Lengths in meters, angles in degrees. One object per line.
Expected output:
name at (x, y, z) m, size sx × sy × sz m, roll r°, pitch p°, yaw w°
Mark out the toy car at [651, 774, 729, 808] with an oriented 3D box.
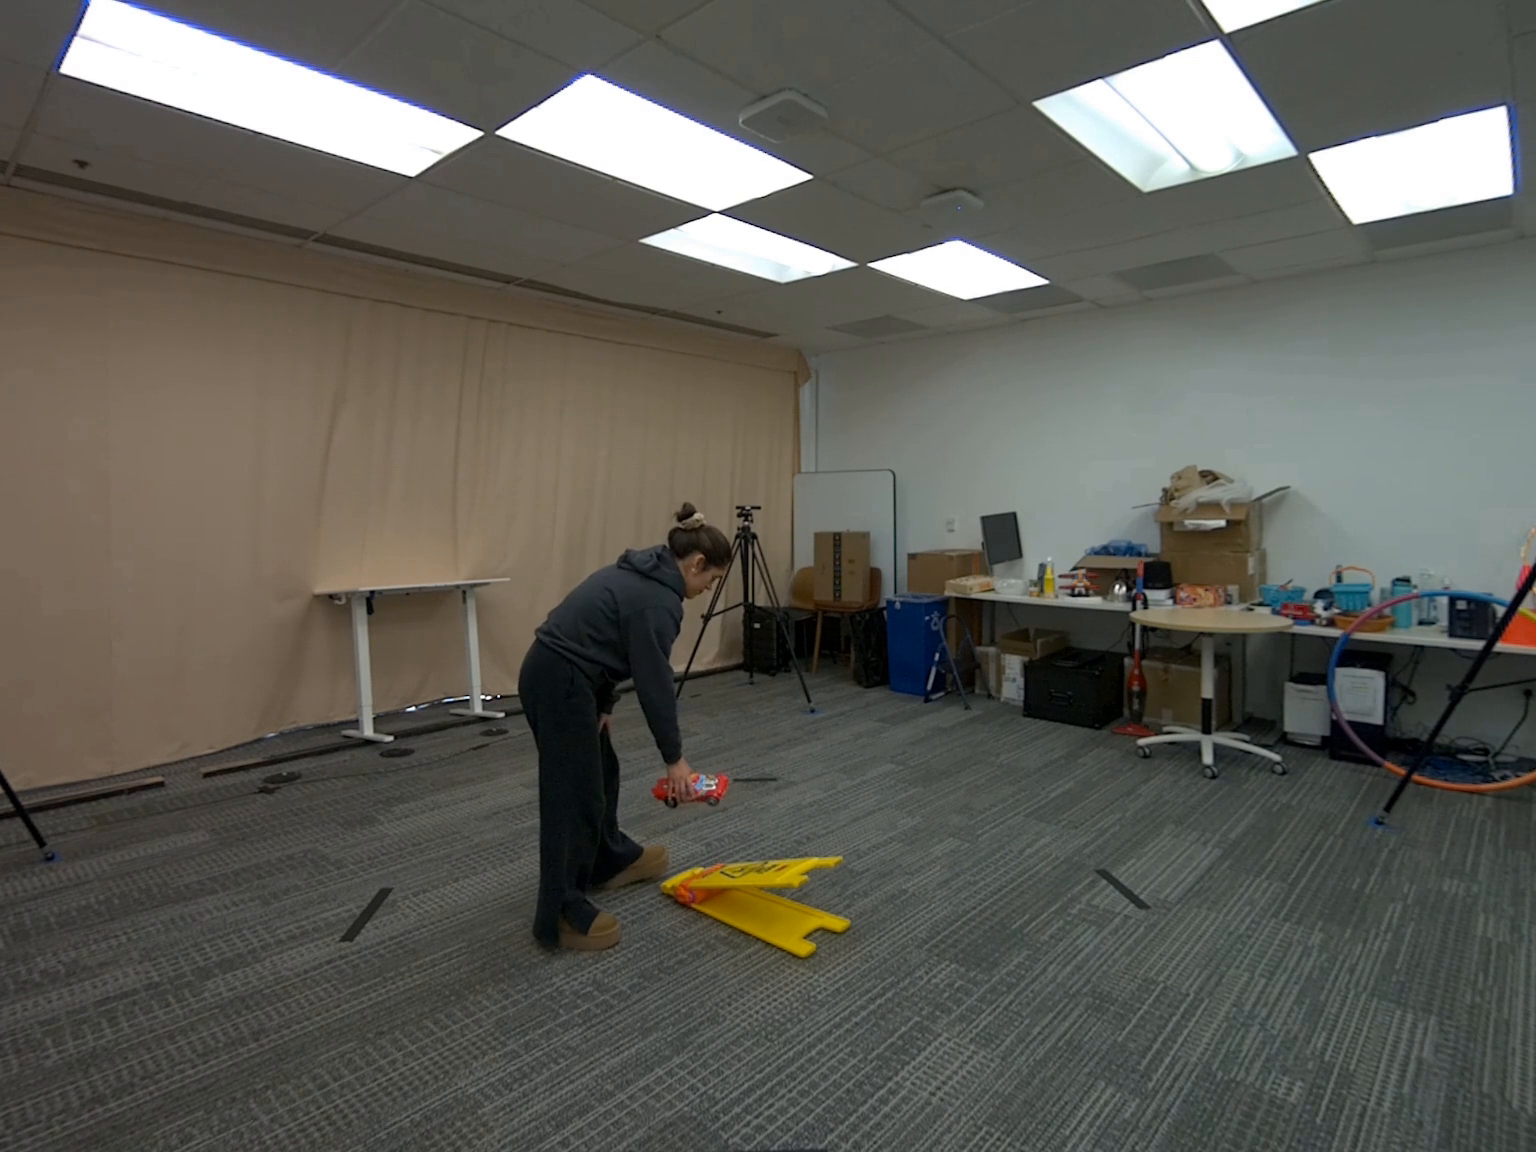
toy car at (-0.241, 0.710, 2.771) m, size 0.259 × 0.082 × 0.130 m, roll 2°, pitch 23°, yaw 18°
